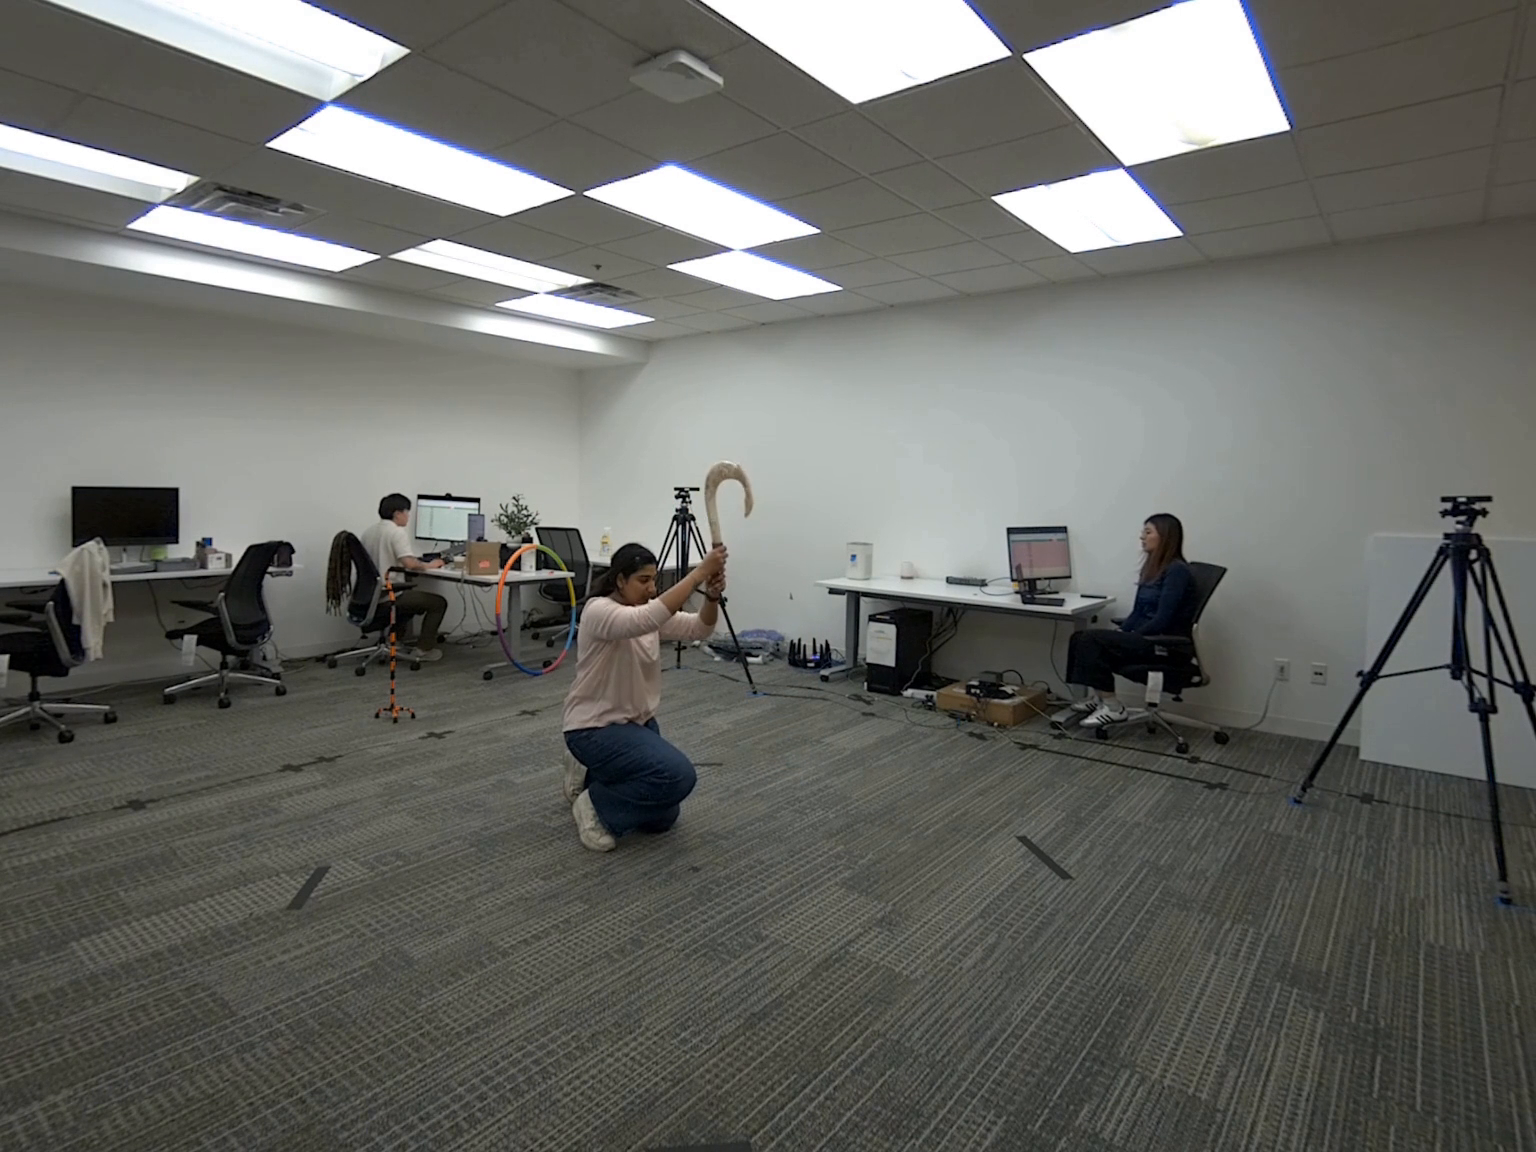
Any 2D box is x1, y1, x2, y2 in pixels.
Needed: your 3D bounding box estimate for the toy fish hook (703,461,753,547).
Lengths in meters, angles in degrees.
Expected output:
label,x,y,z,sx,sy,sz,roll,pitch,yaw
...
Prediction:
label,x,y,z,sx,sy,sz,roll,pitch,yaw
toy fish hook,-0.170,-0.171,3.180,0.233,0.501,0.047,12,15,41
